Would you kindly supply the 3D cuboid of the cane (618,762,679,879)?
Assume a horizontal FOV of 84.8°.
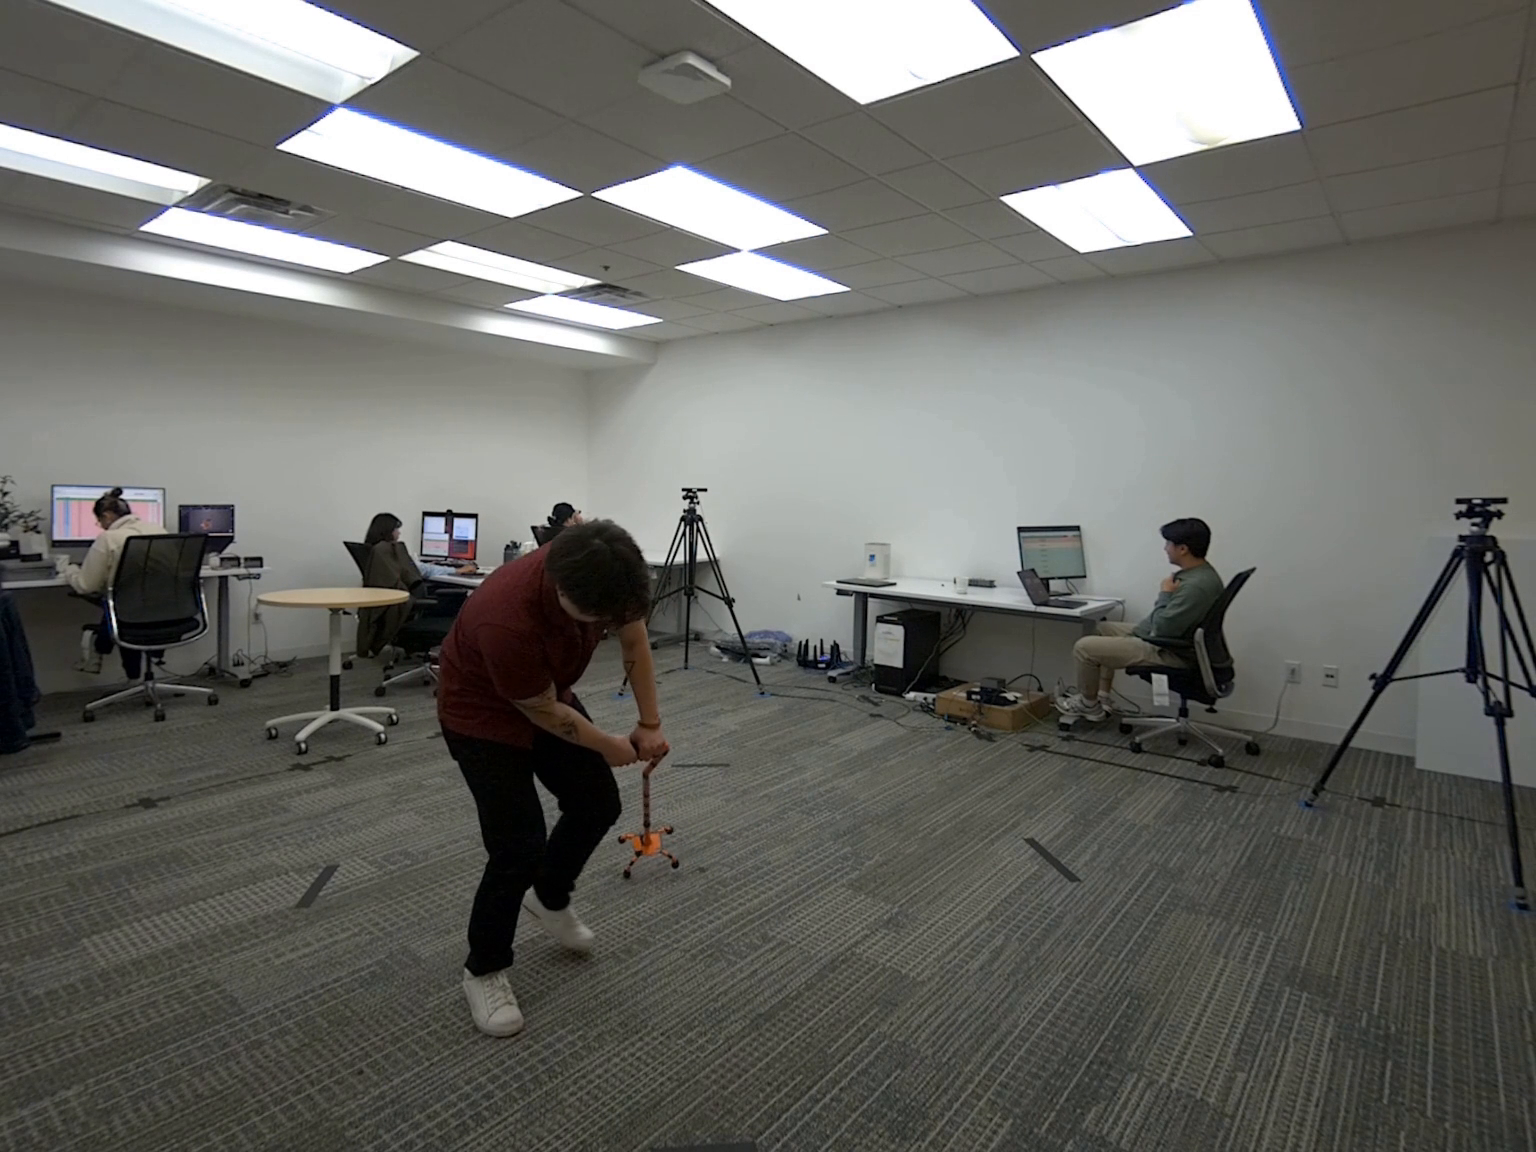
[{"bbox_3d":[-0.394,0.738,2.737,0.204,0.157,0.886,-5,-36,-11],"label":"cane"}]
